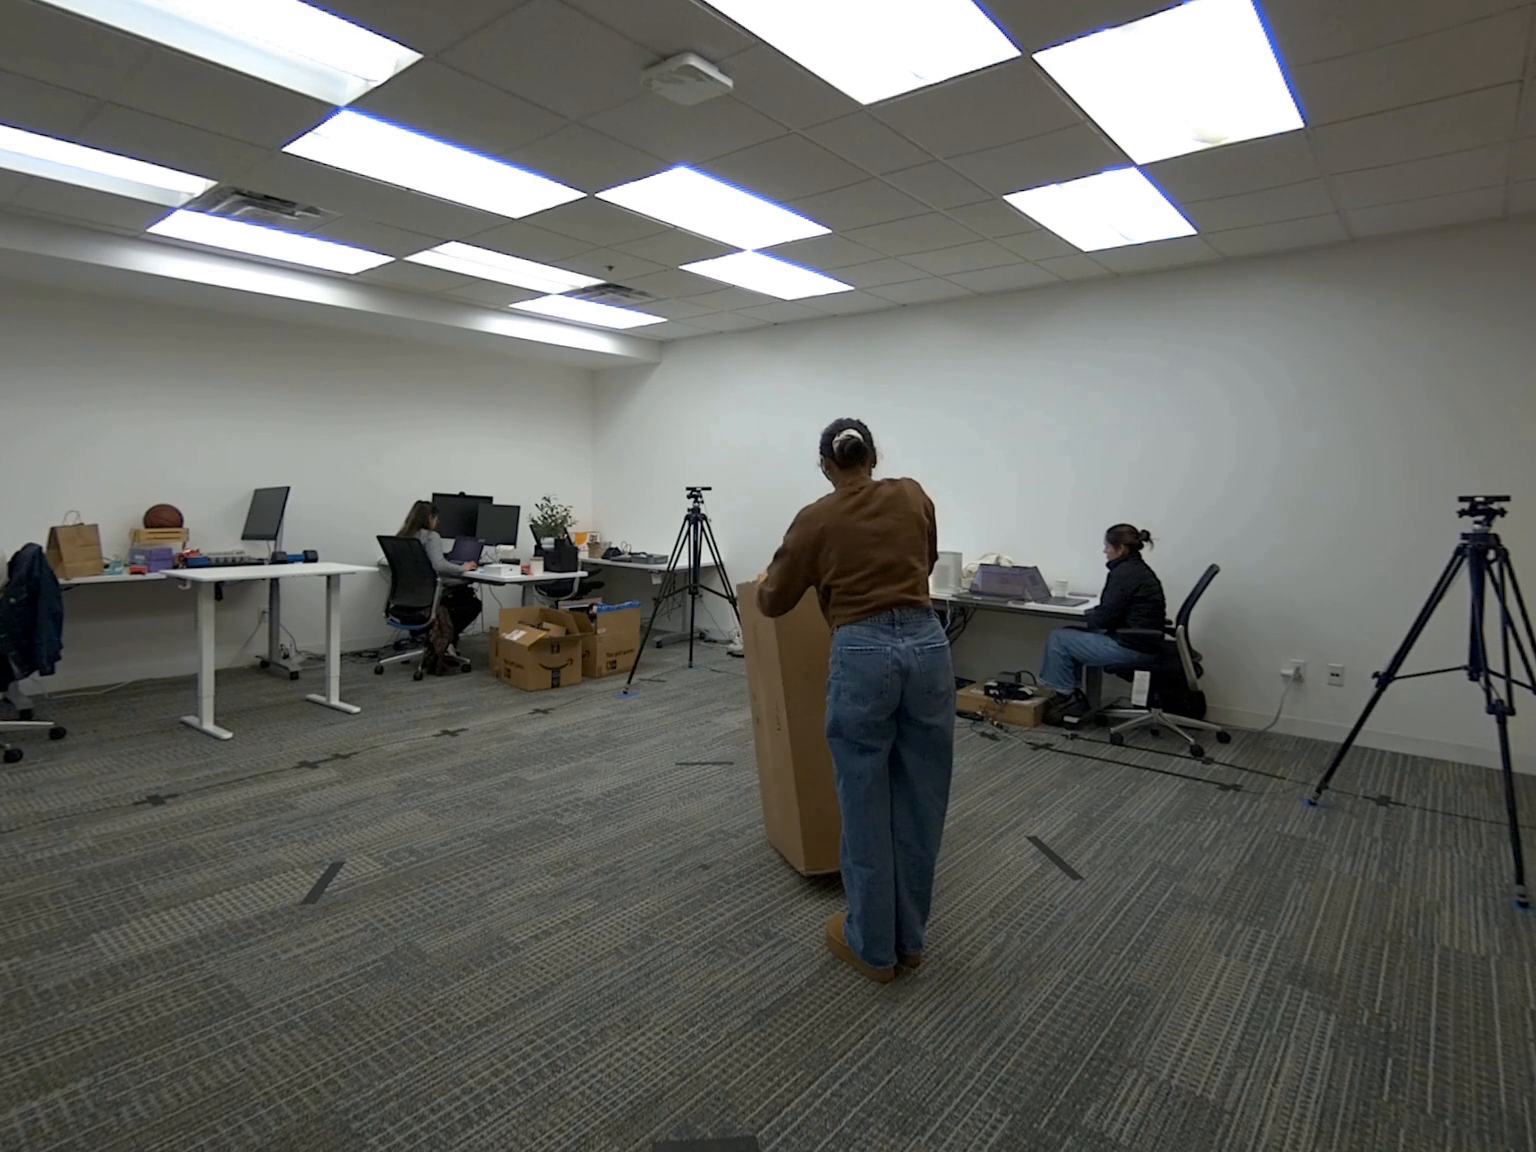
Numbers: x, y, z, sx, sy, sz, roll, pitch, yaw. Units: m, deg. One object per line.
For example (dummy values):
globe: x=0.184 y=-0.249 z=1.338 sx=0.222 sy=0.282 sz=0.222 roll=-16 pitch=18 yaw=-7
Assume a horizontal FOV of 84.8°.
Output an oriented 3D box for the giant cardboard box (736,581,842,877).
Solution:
giant cardboard box: x=0.194 y=0.508 z=3.234 sx=0.441 sy=1.033 sz=0.588 roll=-6 pitch=-5 yaw=-14
